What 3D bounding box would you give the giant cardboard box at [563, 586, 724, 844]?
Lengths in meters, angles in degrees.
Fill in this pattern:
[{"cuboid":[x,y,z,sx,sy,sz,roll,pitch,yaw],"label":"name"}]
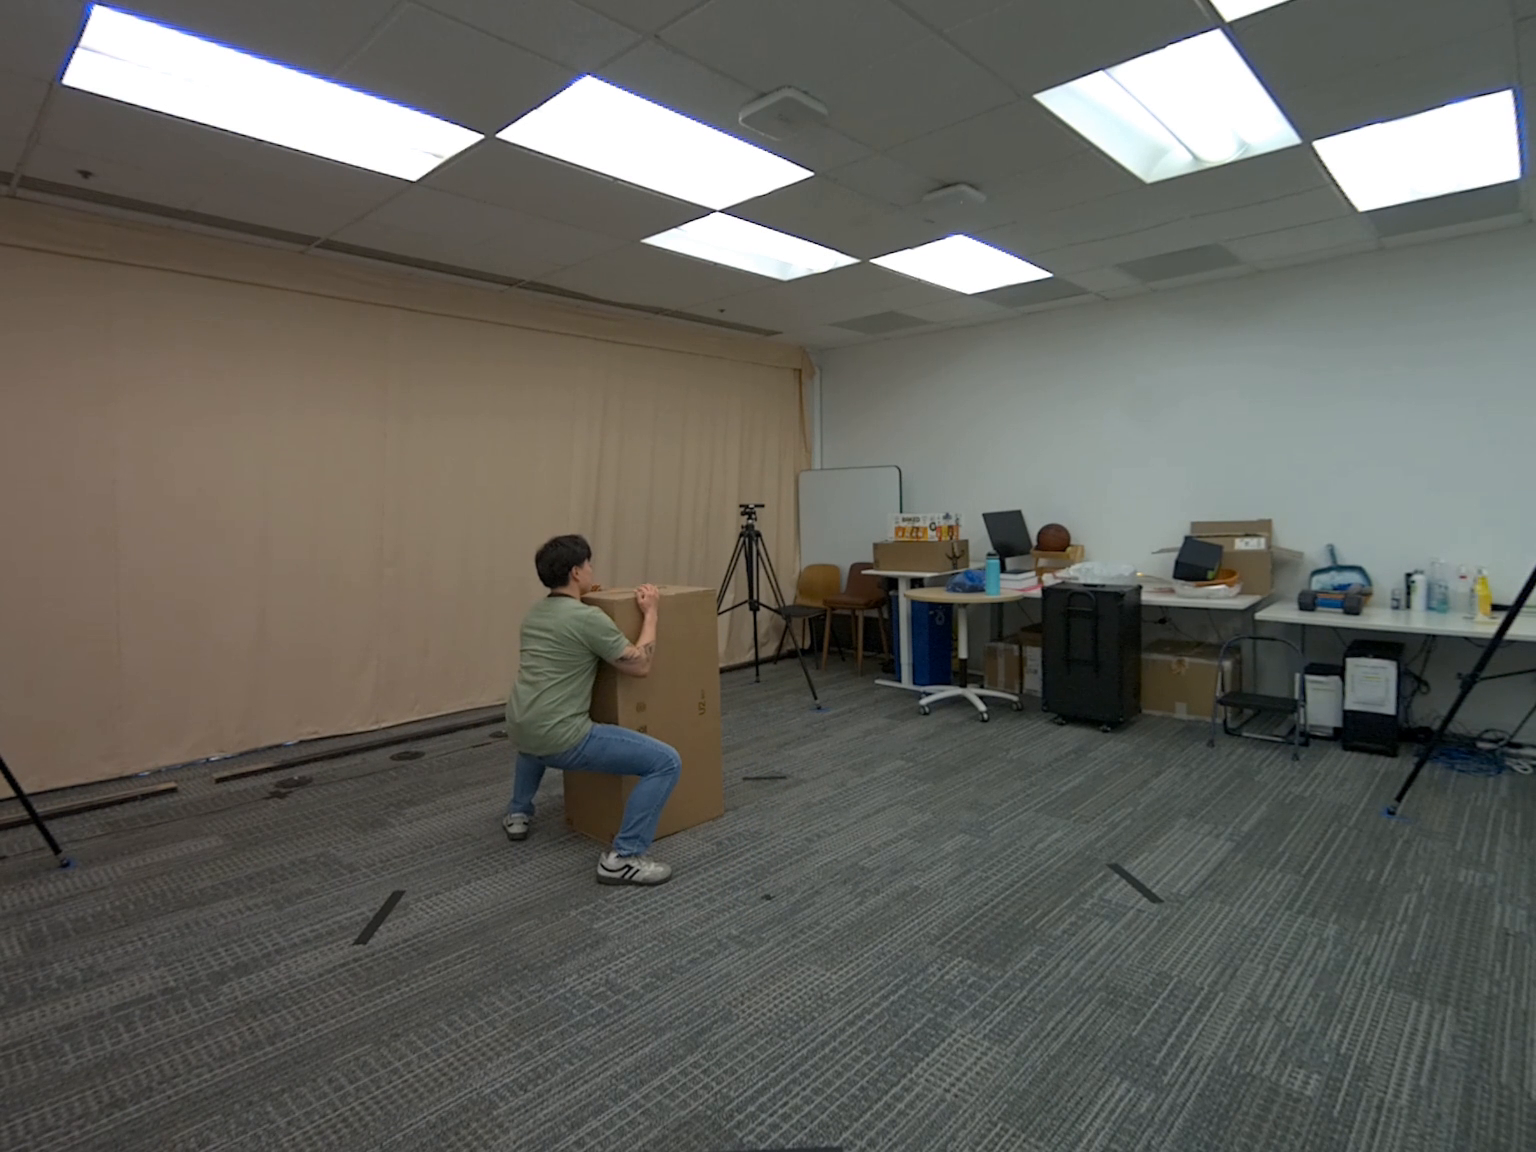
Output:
[{"cuboid":[-0.560,0.578,3.724,0.440,1.024,0.560,0,3,44],"label":"giant cardboard box"}]
